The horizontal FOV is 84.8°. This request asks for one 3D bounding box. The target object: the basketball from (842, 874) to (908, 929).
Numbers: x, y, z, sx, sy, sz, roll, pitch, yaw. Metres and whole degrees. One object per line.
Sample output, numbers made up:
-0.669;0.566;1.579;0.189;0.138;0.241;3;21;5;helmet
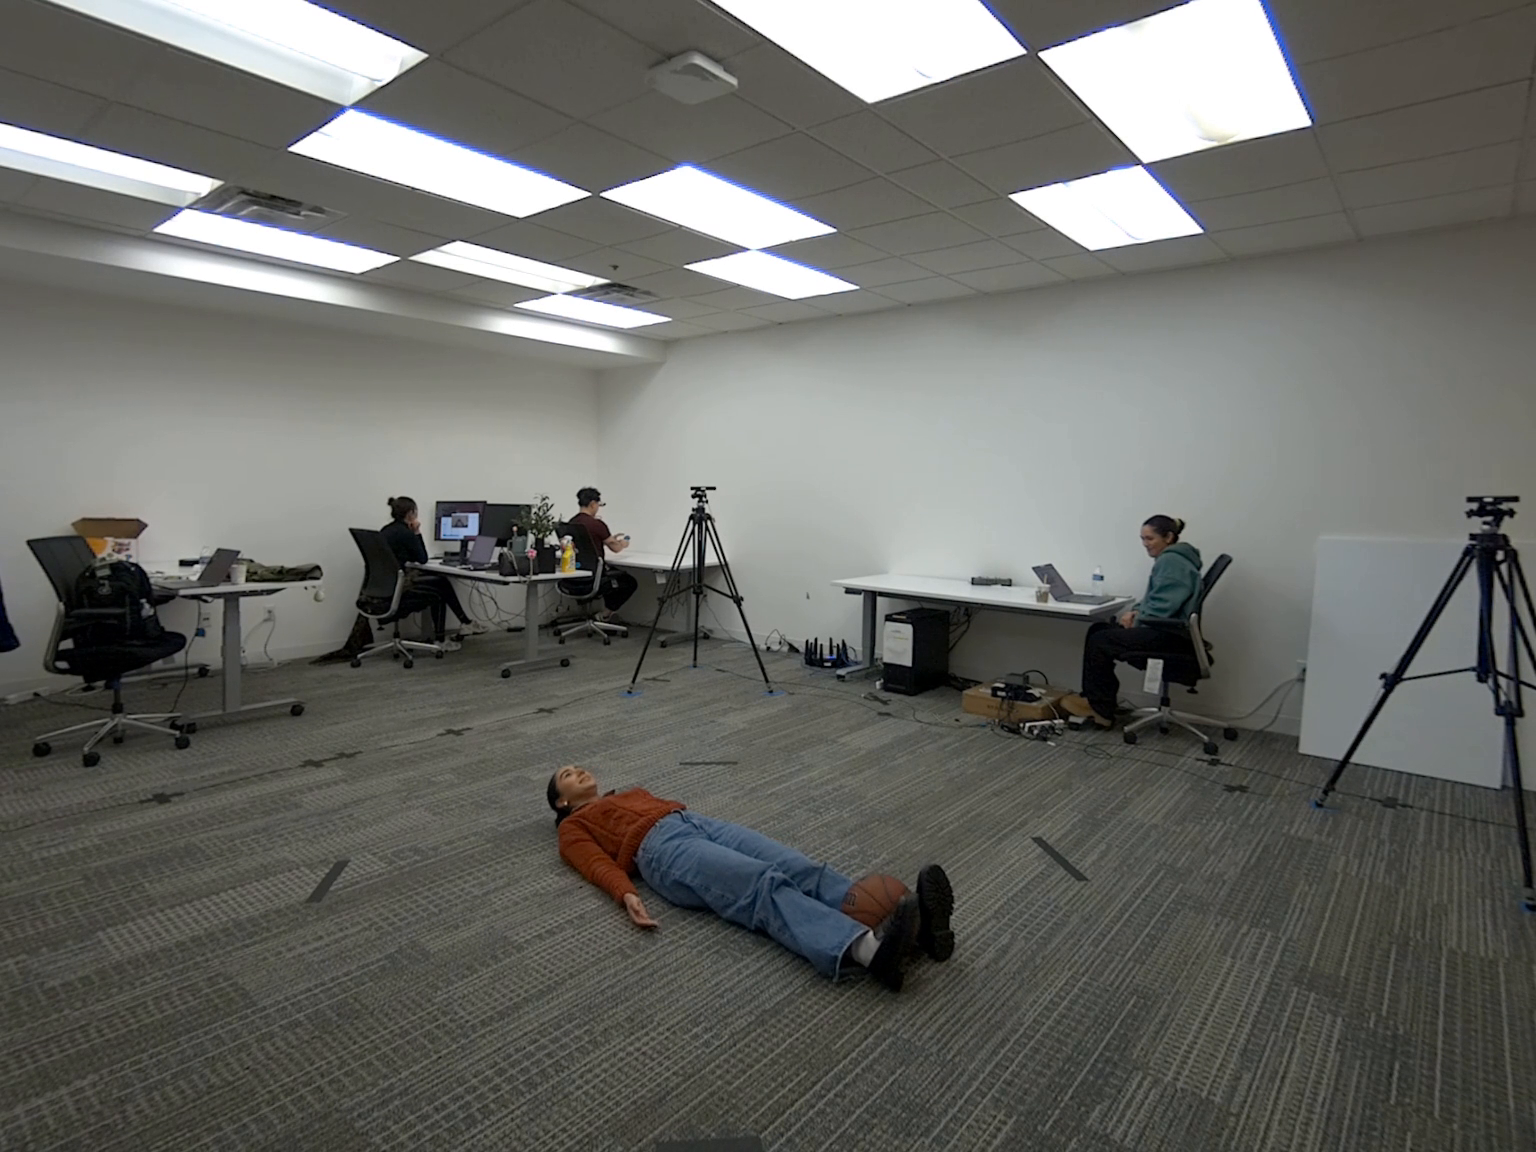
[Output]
0.334;1.019;2.545;0.236;0.235;0.237;1;4;-2;basketball
